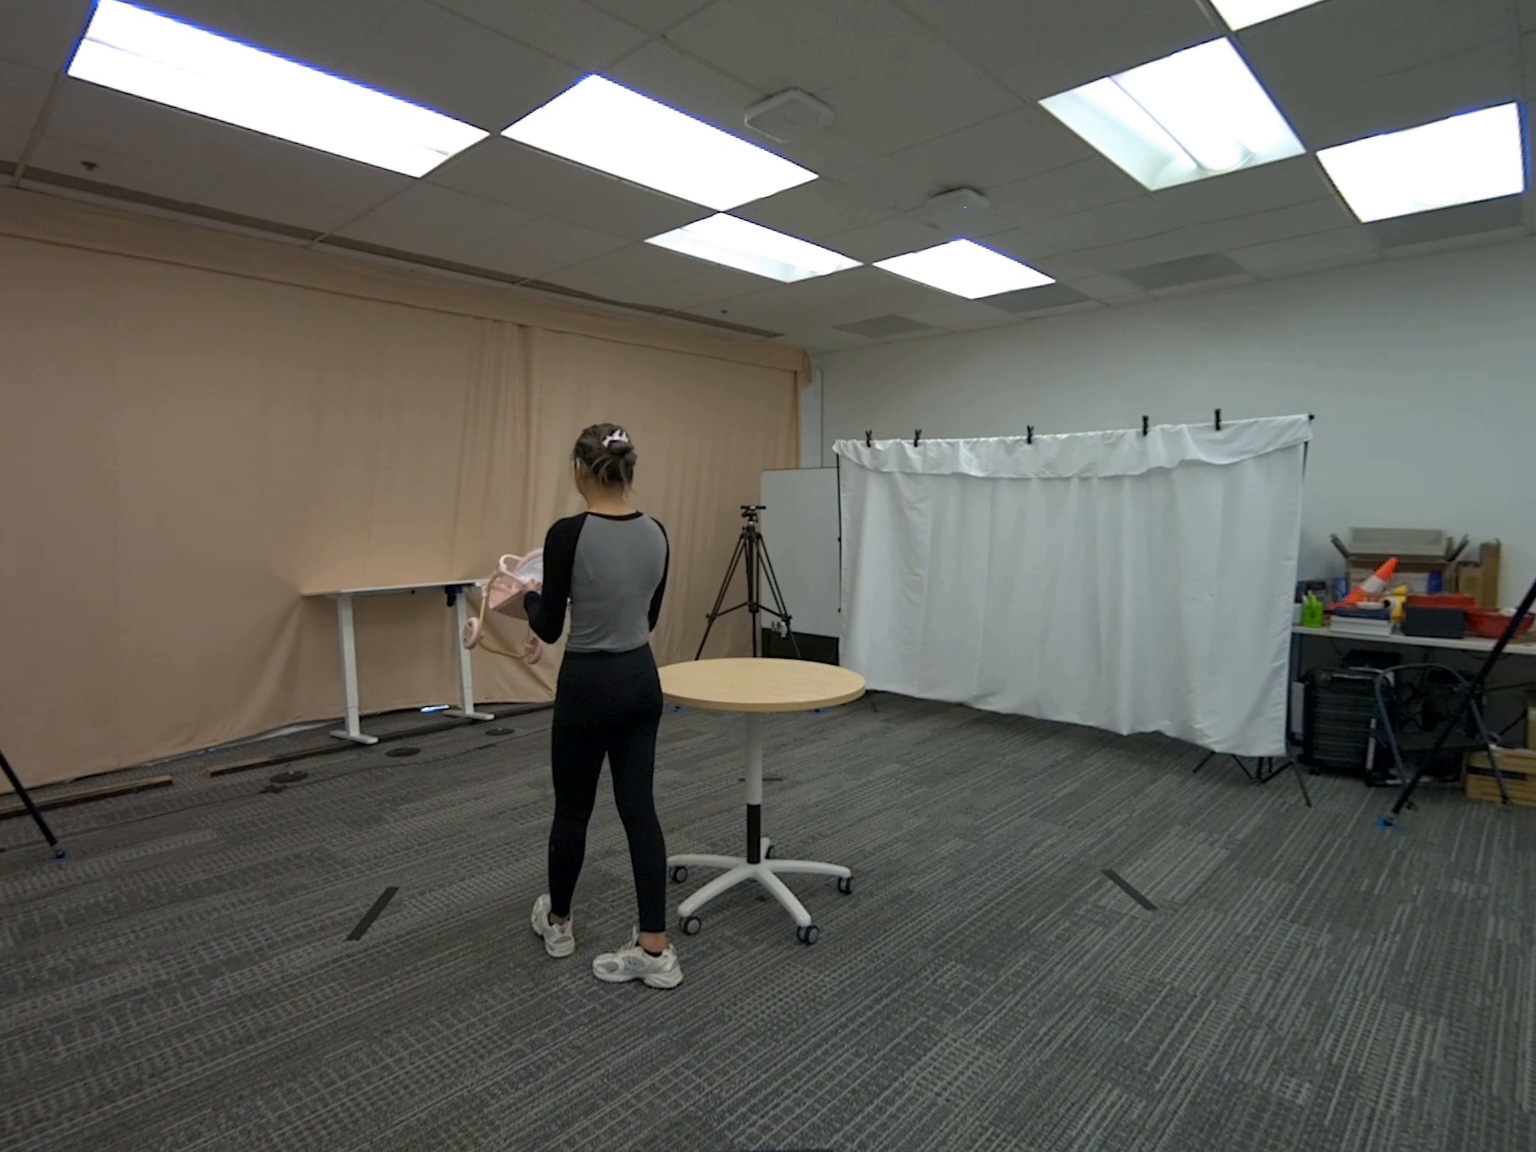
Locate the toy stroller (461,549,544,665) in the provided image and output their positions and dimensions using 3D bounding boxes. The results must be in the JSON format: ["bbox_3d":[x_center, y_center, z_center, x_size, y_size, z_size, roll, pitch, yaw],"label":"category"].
[{"bbox_3d":[-0.839,0.069,2.918,0.272,0.348,0.542,25,-47,-33],"label":"toy stroller"}]
